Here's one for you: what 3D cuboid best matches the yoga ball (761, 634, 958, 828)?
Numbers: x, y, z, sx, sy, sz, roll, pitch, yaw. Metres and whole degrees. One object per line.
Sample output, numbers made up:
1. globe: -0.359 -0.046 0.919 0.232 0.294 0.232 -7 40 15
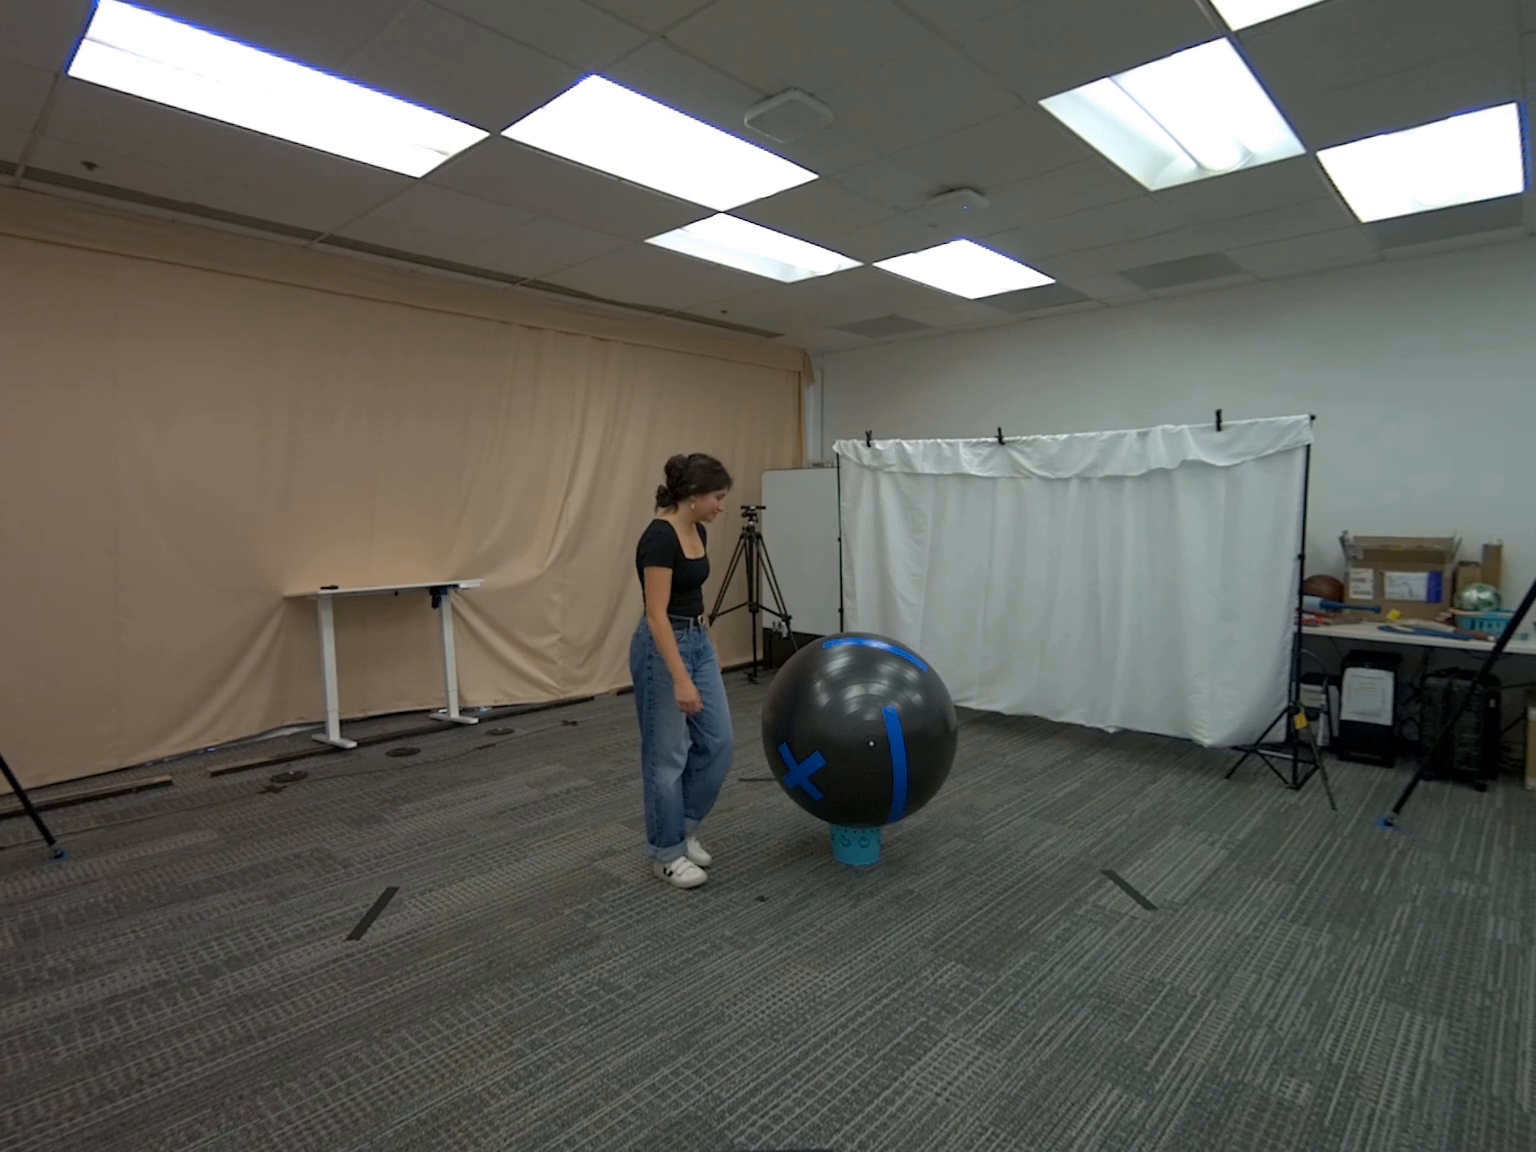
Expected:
1. yoga ball: 0.361 0.600 3.336 0.757 0.756 0.760 0 4 -2
